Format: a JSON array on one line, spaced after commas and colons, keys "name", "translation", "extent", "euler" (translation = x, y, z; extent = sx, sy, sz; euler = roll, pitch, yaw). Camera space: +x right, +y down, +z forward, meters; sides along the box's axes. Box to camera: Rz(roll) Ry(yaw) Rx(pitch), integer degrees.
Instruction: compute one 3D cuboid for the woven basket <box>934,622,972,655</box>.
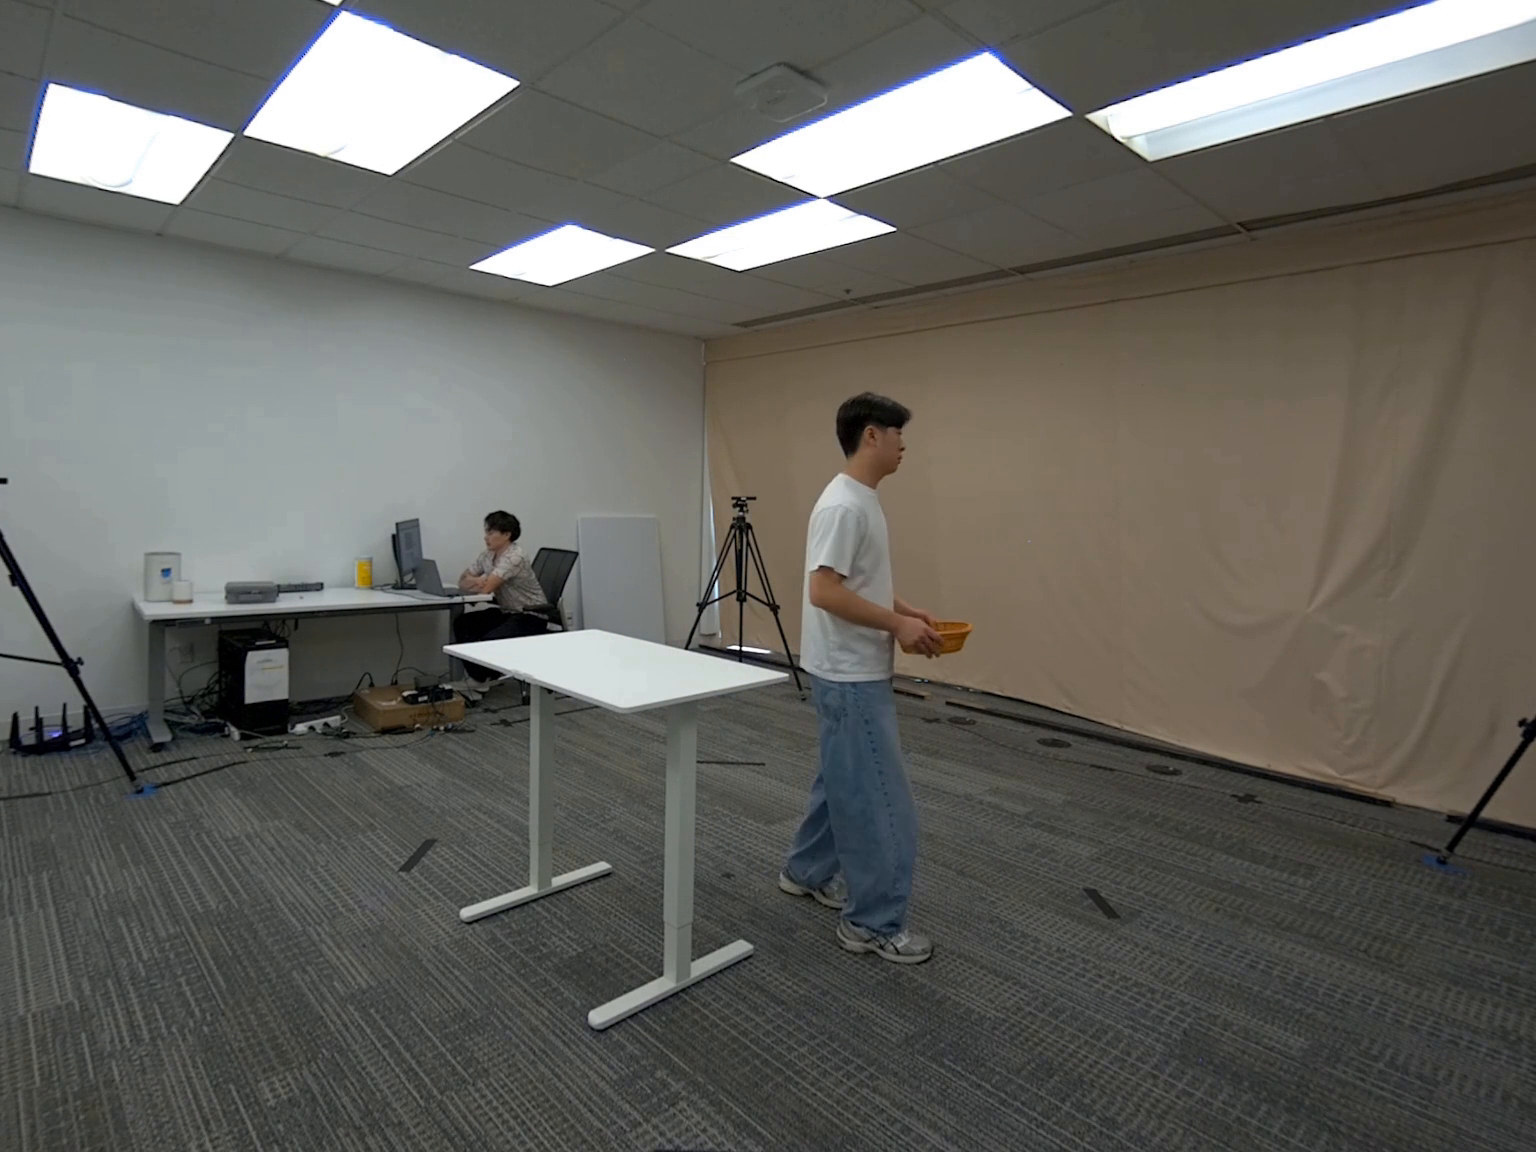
[{"name": "woven basket", "translation": [0.501, 0.198, 2.685], "extent": [0.255, 0.073, 0.347], "euler": [-4, 2, 14]}]
